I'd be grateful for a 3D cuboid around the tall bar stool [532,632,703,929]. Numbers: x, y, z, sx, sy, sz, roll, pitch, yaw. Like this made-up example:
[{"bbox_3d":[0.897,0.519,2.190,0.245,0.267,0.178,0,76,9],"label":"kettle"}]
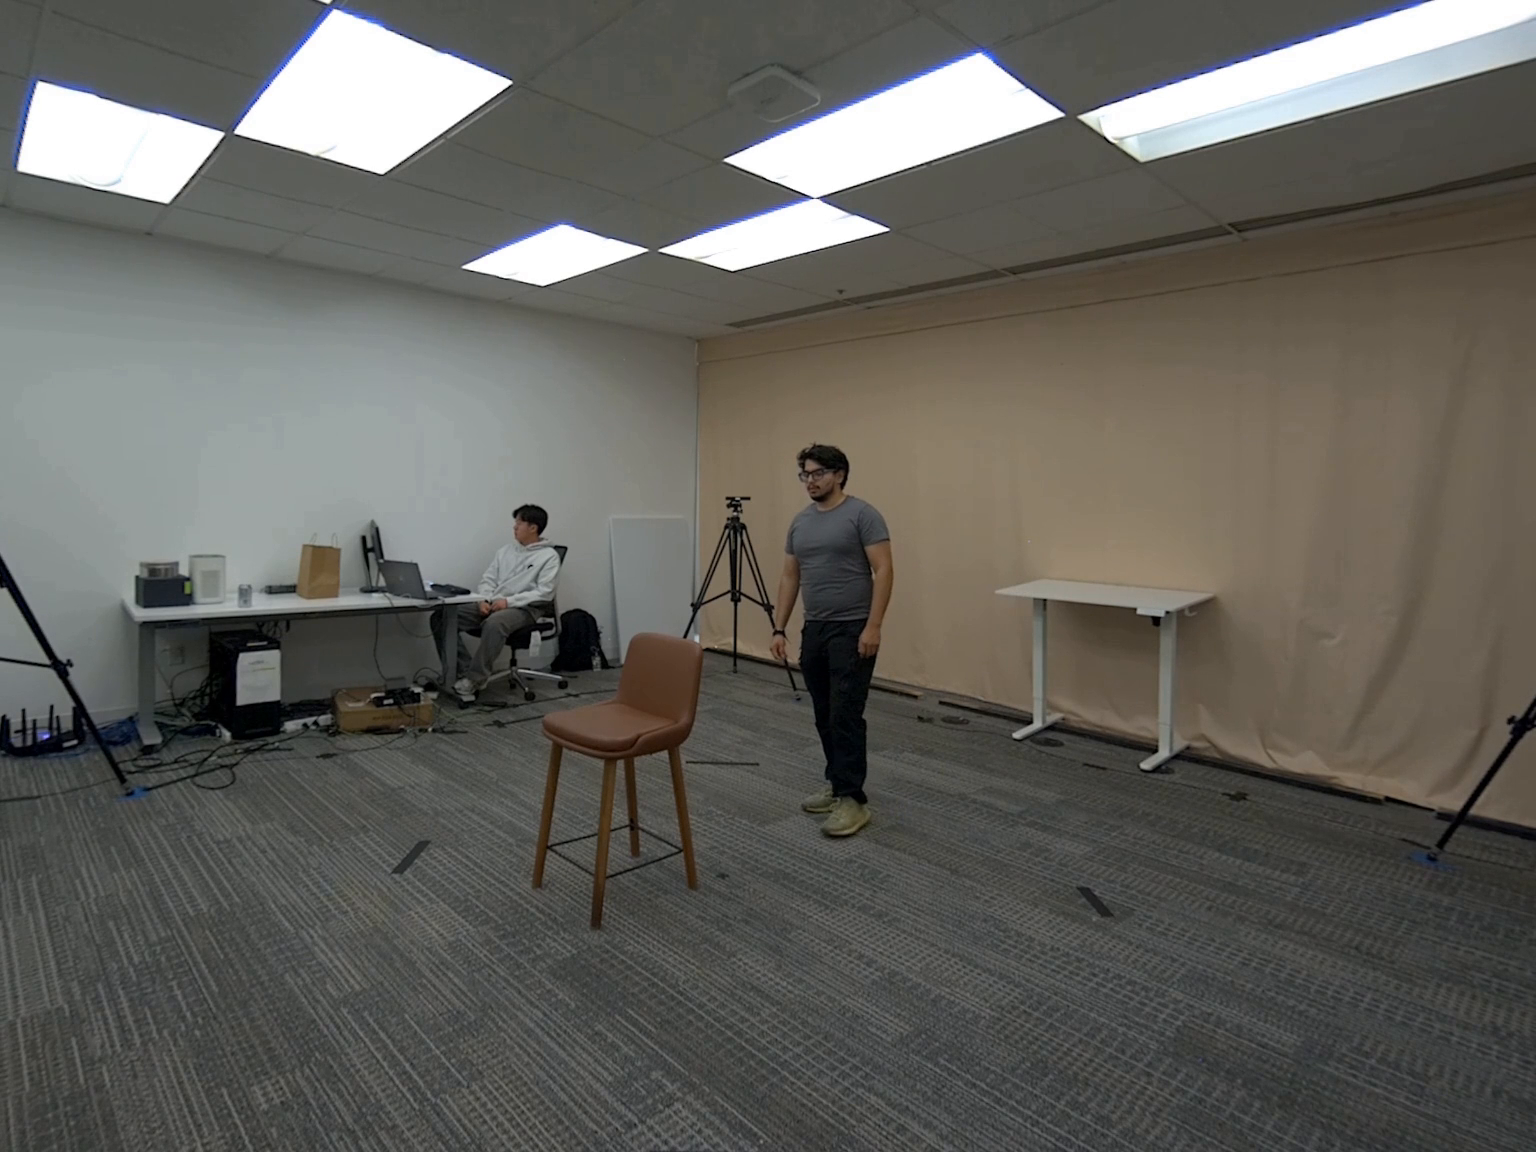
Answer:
[{"bbox_3d":[-0.529,0.676,2.970,0.456,0.888,0.468,0,3,-44],"label":"tall bar stool"}]
